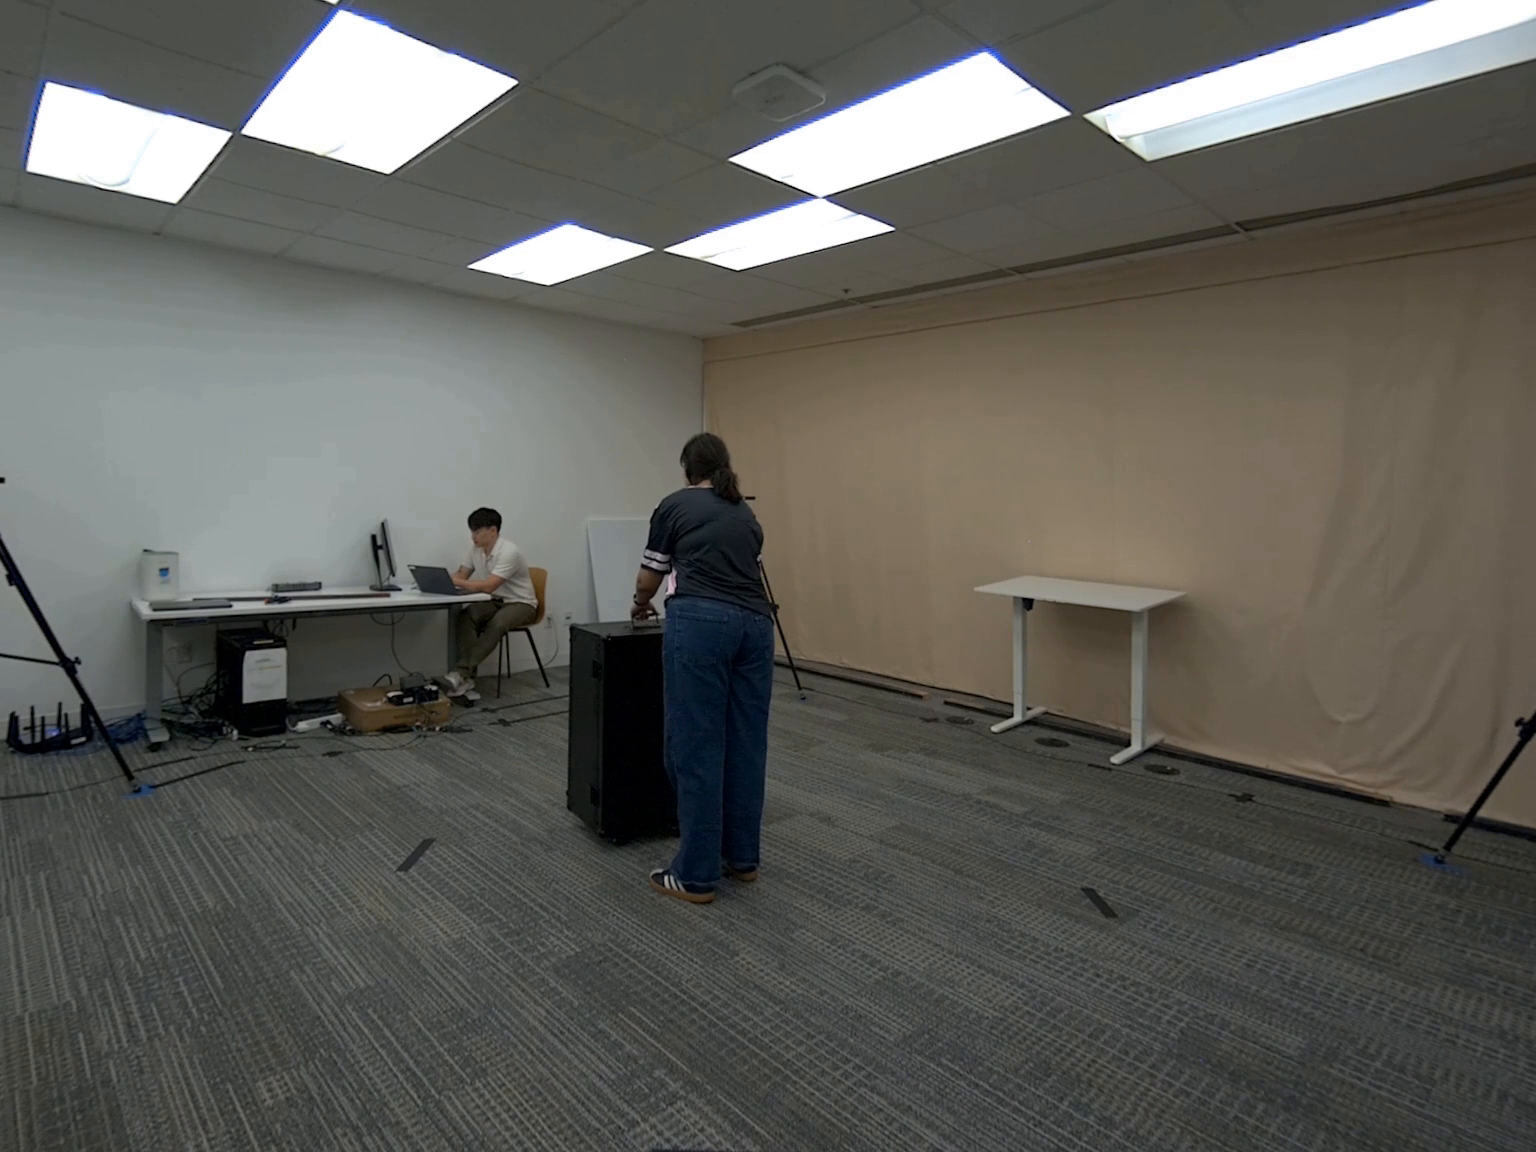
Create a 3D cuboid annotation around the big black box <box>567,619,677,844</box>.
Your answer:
[{"bbox_3d":[-0.561,0.640,3.507,0.512,0.866,0.394,0,4,-34],"label":"big black box"}]
